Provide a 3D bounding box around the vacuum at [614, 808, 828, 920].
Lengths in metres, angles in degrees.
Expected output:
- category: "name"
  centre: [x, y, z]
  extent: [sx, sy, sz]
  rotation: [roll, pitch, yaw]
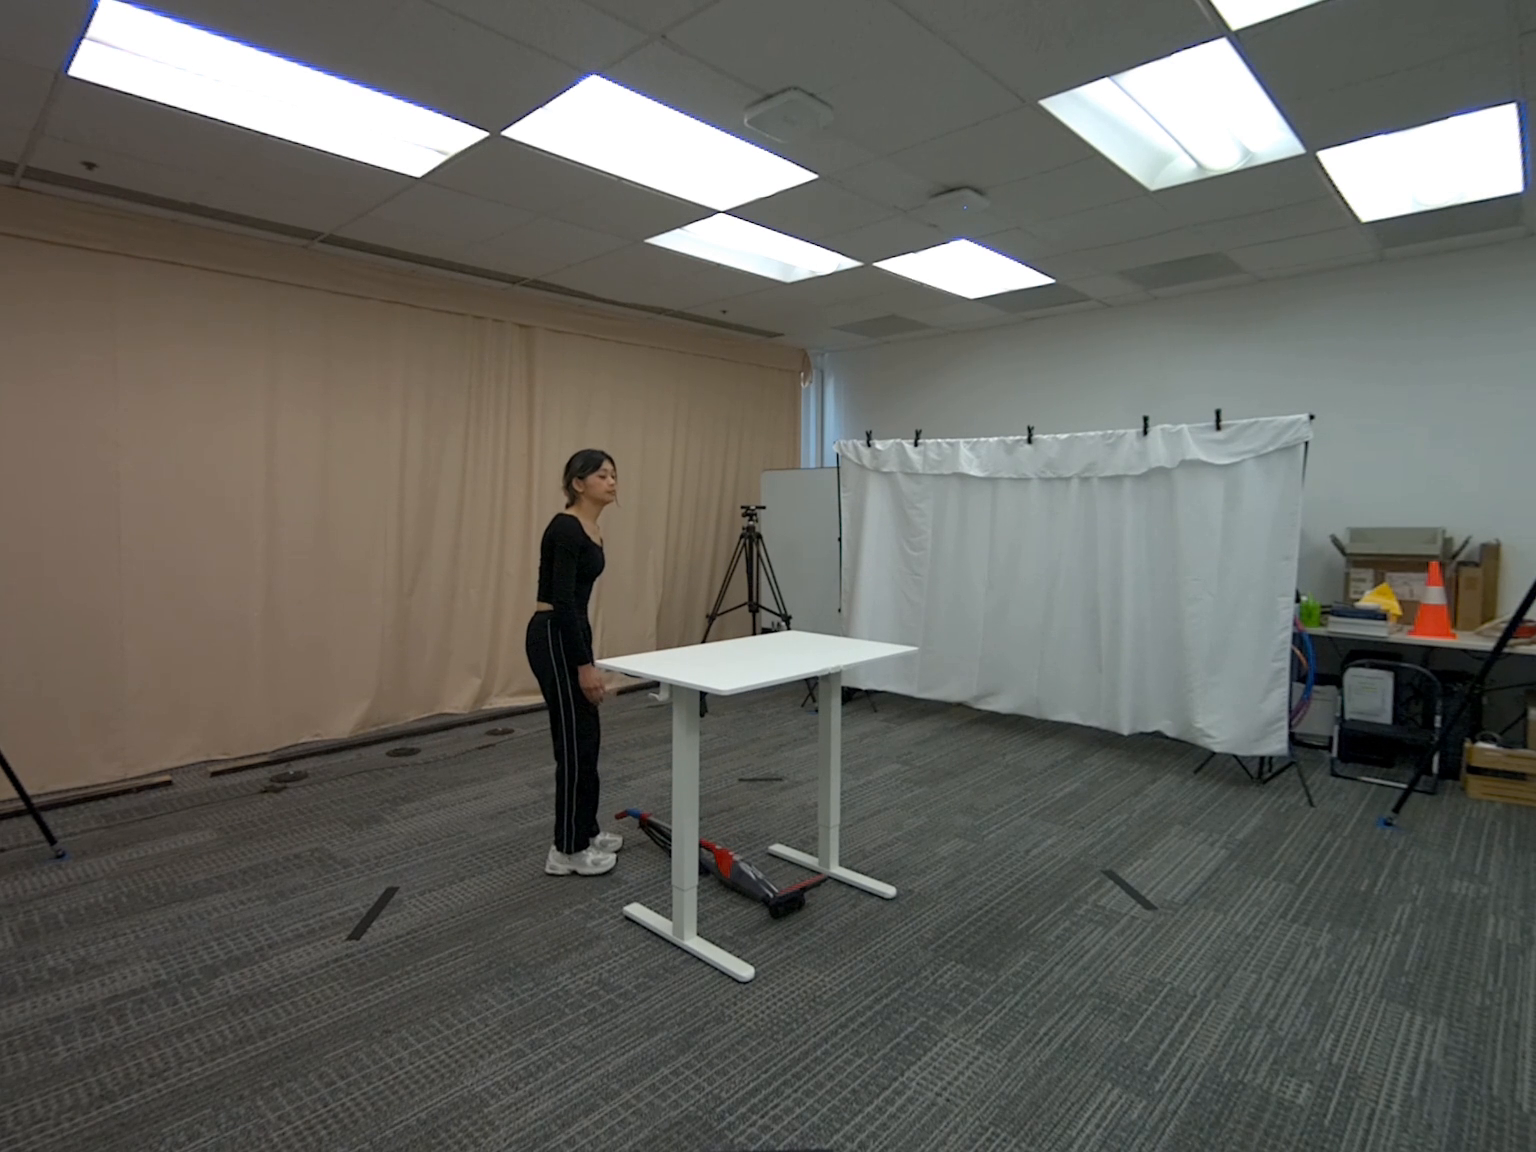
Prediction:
- category: "vacuum"
  centre: [-0.279, 1.073, 3.237]
  extent: [0.245, 0.144, 1.084]
  rotation: [-3, 5, -43]
